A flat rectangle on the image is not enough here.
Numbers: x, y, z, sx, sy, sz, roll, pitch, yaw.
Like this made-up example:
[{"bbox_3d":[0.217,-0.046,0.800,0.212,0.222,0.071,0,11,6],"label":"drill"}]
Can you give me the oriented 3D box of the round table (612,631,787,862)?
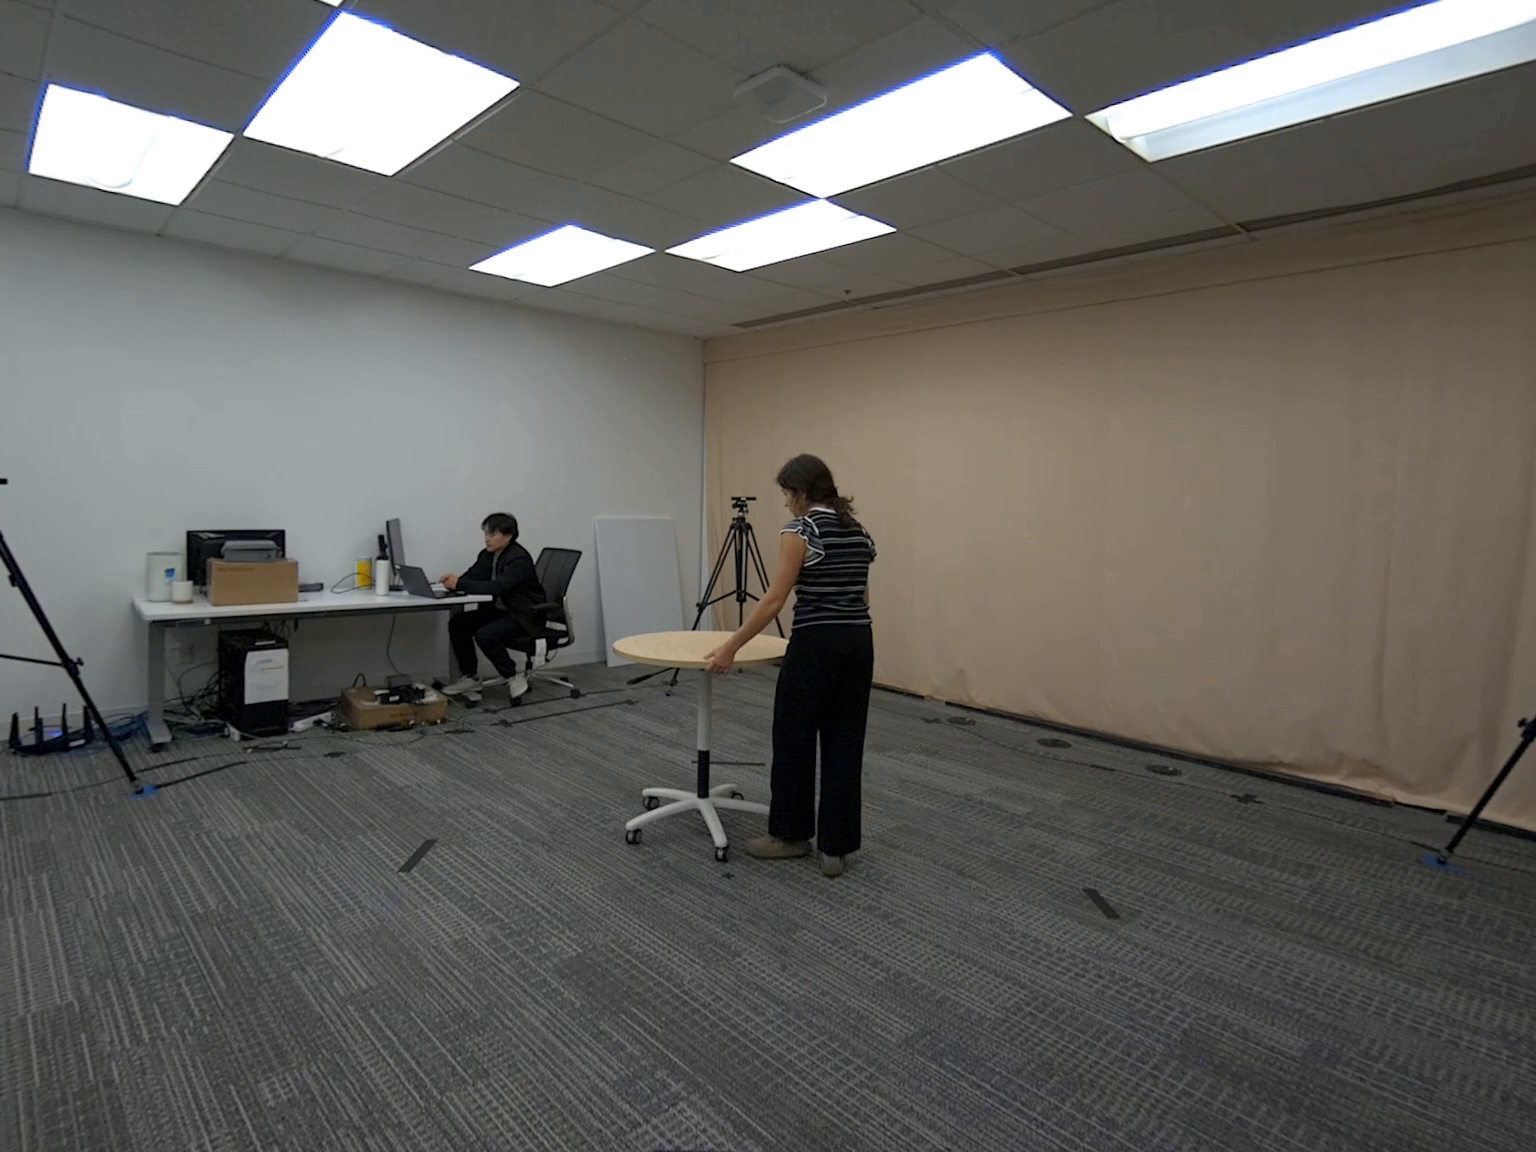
[{"bbox_3d":[-0.289,0.674,3.520,0.784,0.785,0.787,1,4,-1],"label":"round table"}]
